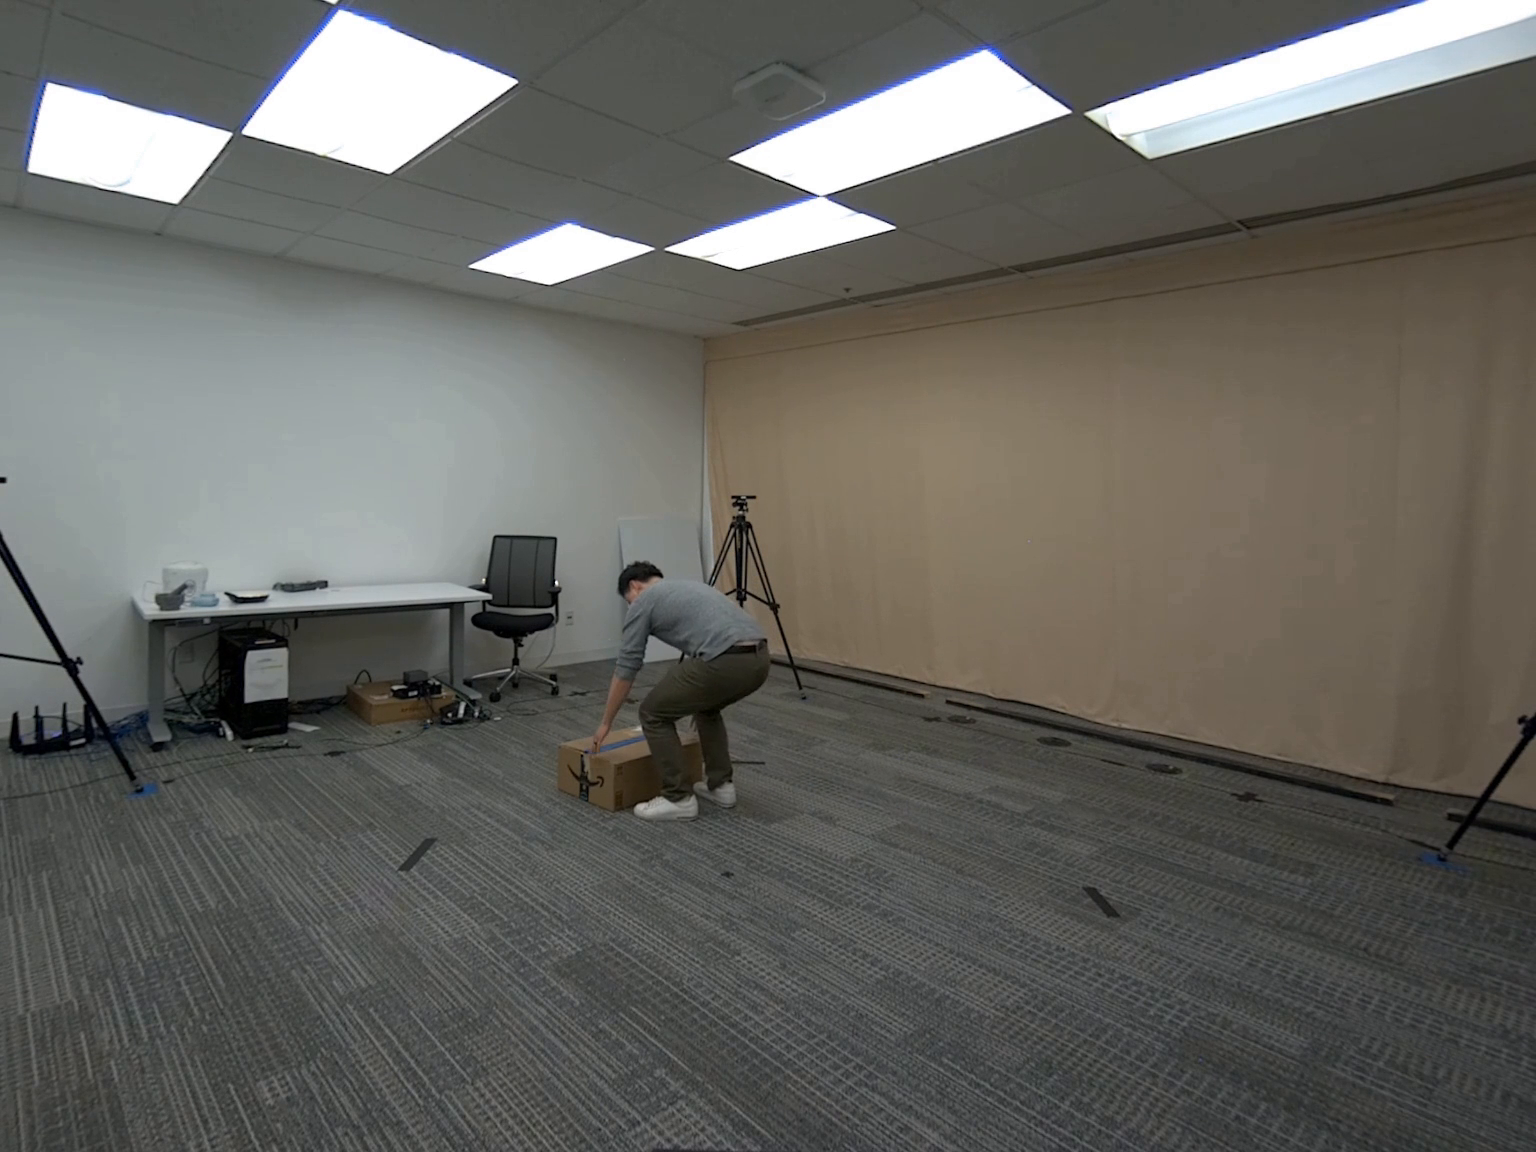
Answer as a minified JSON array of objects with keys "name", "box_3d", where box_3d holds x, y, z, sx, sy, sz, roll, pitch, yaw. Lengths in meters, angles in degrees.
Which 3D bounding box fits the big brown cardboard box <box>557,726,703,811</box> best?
[{"name":"big brown cardboard box","box_3d":[-0.648,0.891,4.022,0.428,0.232,0.576,5,7,40]}]
